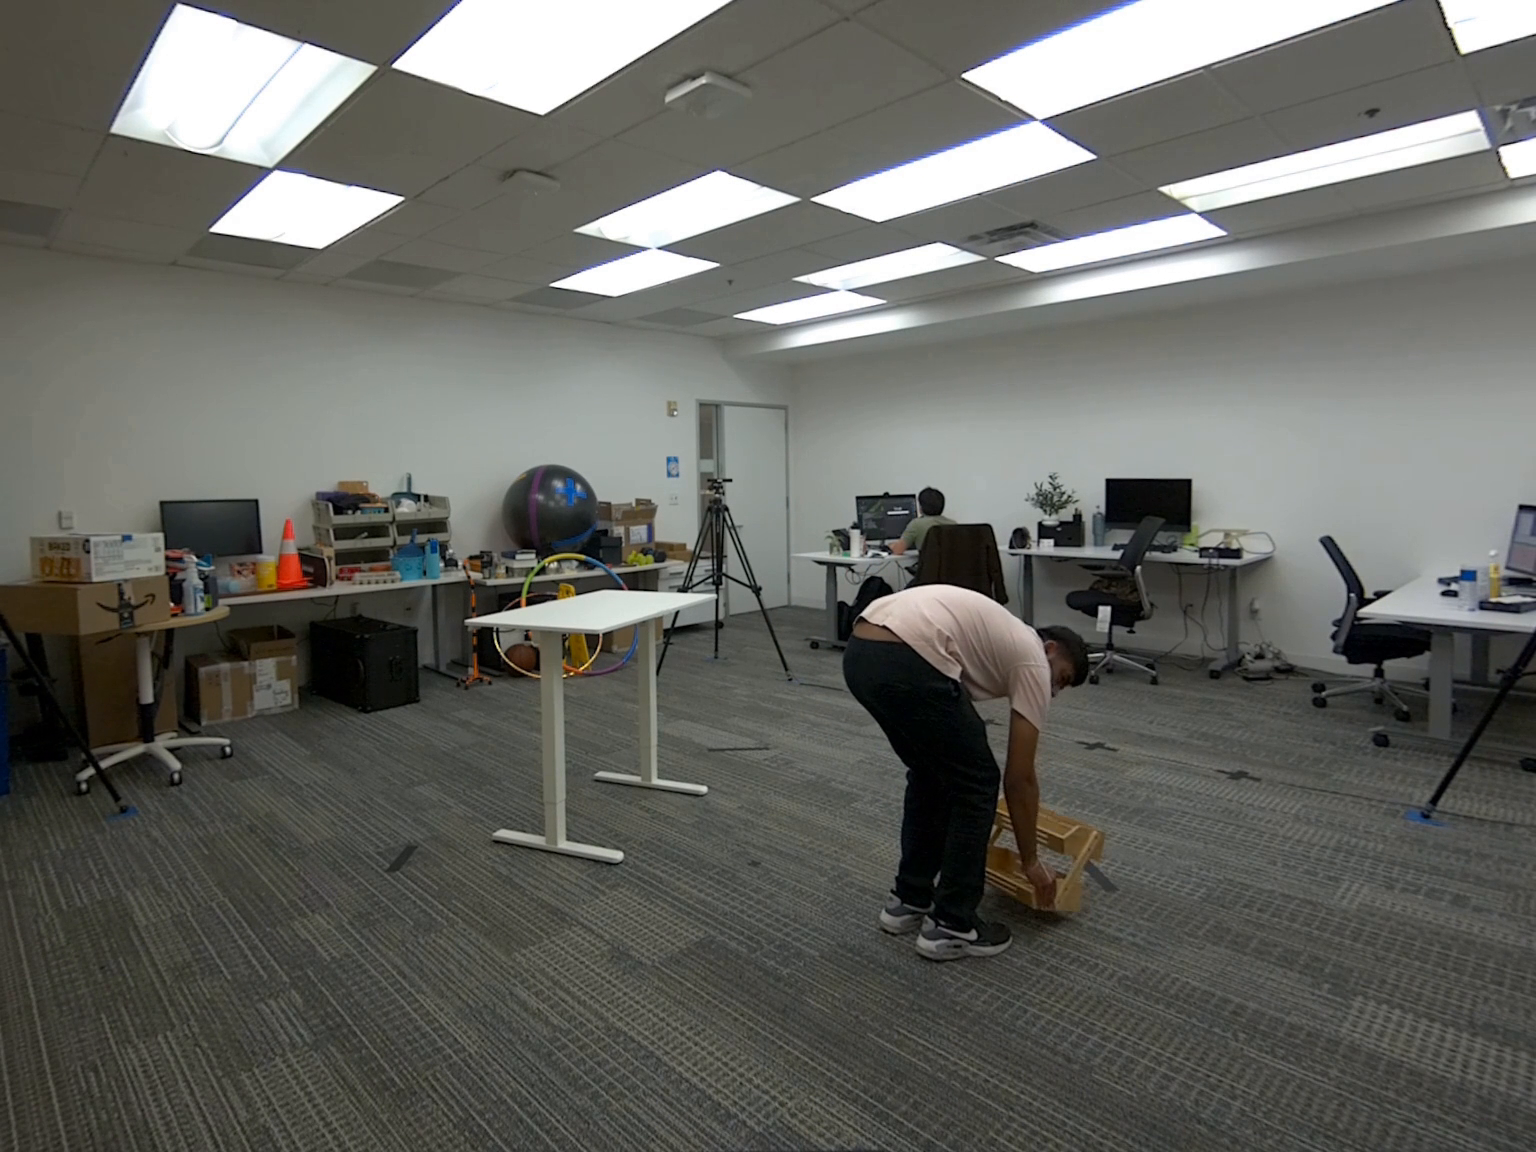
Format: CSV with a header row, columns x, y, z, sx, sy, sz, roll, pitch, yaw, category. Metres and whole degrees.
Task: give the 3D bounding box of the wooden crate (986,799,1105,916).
x,y,z,sx,sy,sz,roll,pitch,yaw,category
0.854,0.879,2.764,0.292,0.274,0.334,18,-5,-34,wooden crate
